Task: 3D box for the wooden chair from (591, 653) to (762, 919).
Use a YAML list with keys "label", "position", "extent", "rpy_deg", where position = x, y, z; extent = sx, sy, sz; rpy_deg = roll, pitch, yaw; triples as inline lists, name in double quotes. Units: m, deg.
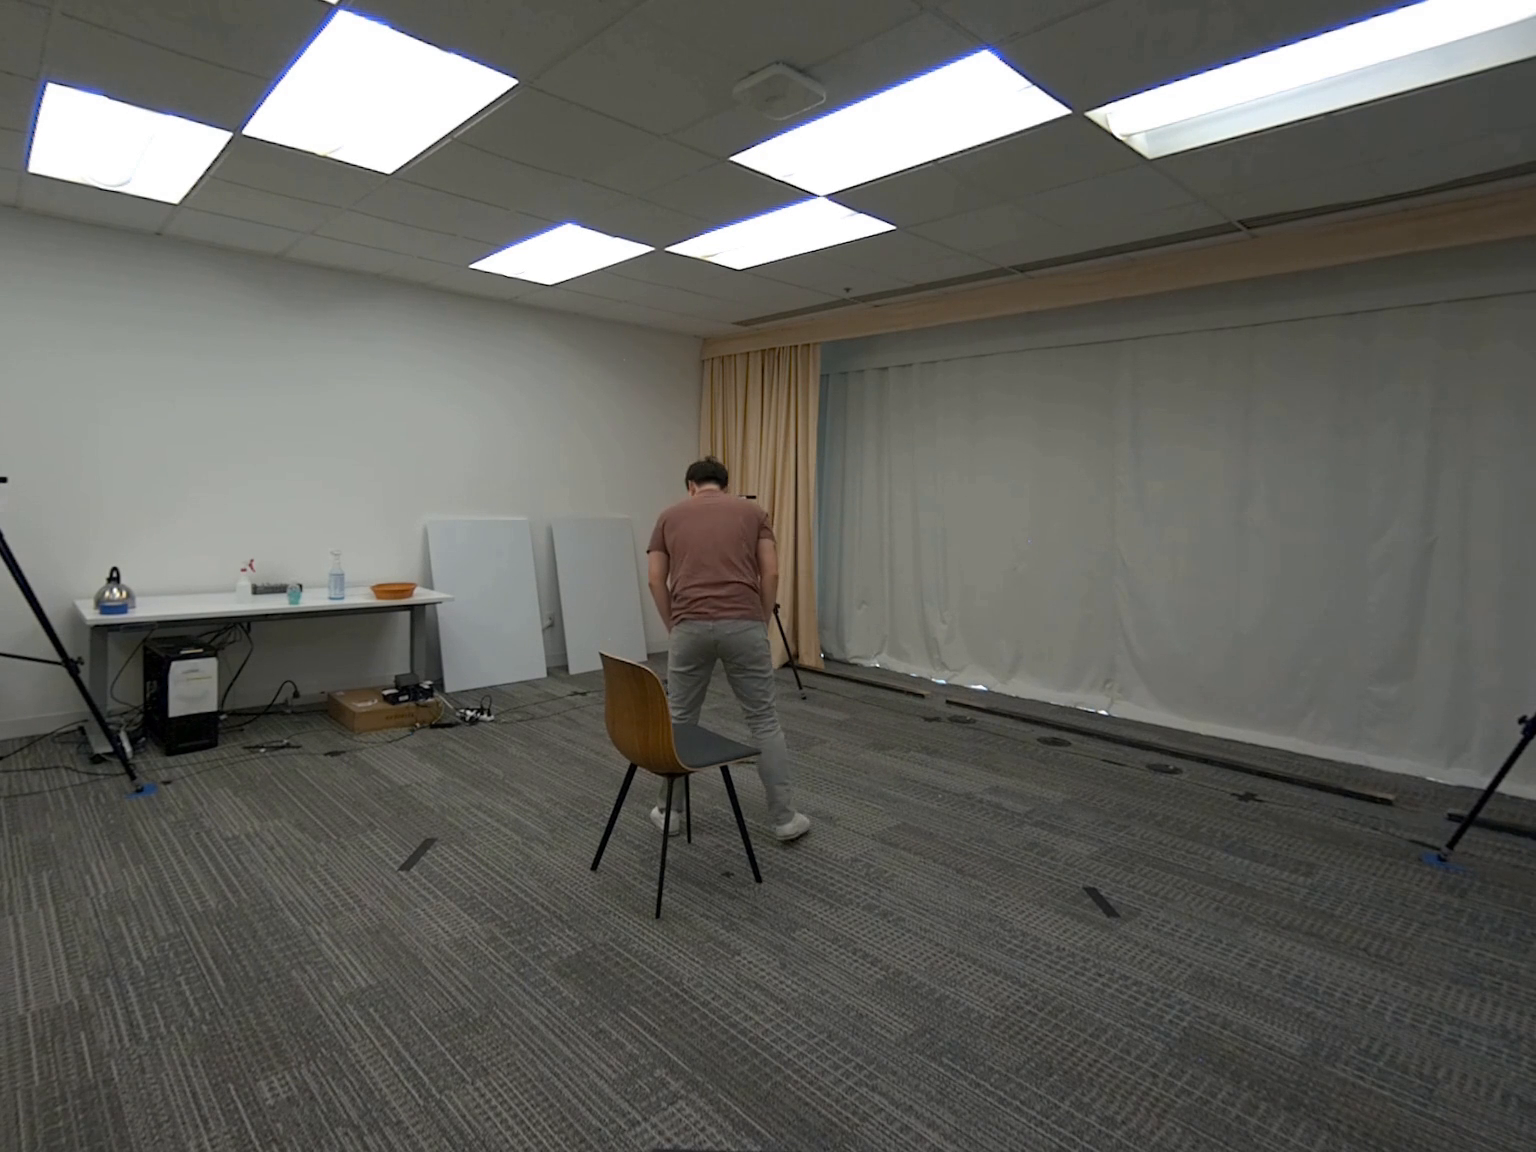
- label: "wooden chair"
  position: [-0.328, 0.671, 3.053]
  extent: [0.512, 0.873, 0.490]
  rpy_deg: [-7, 7, -38]
